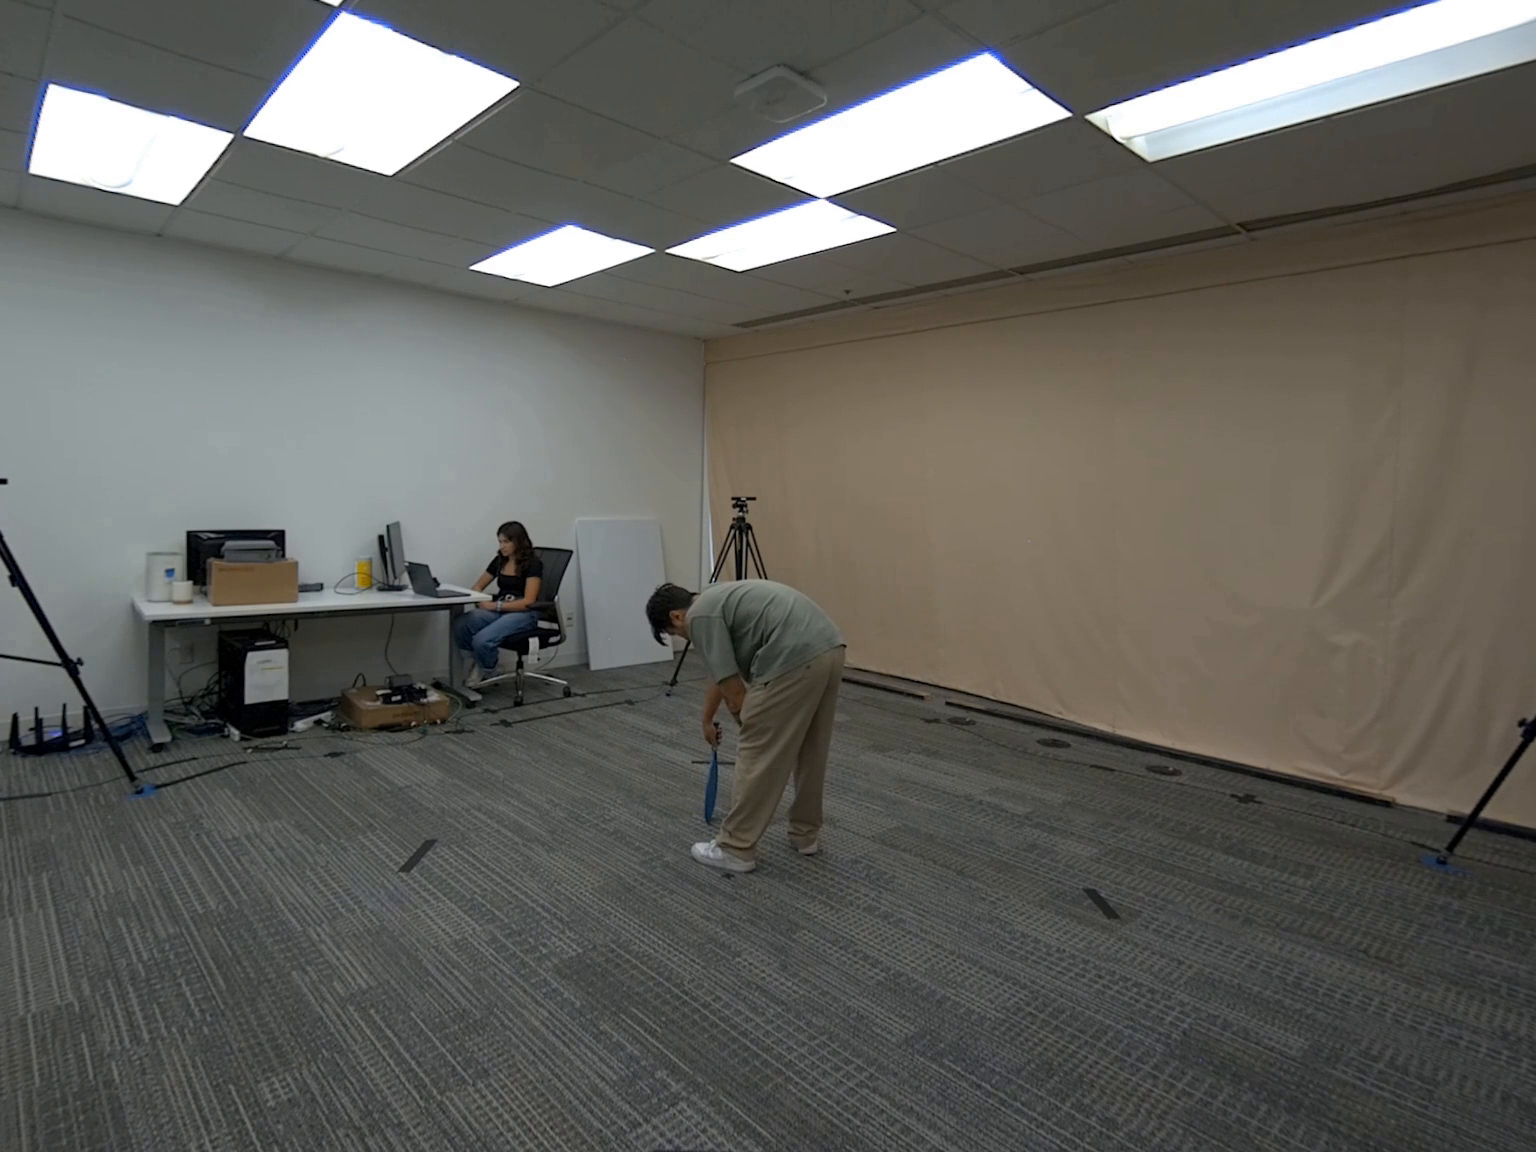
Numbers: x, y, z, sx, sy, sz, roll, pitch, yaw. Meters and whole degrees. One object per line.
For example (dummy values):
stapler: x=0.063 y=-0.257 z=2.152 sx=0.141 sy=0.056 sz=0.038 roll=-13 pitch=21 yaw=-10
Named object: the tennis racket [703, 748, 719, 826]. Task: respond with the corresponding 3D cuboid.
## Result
tennis racket: x=-0.248 y=0.848 z=3.625 sx=0.032 sy=0.433 sz=0.211 roll=4 pitch=-1 yaw=9
